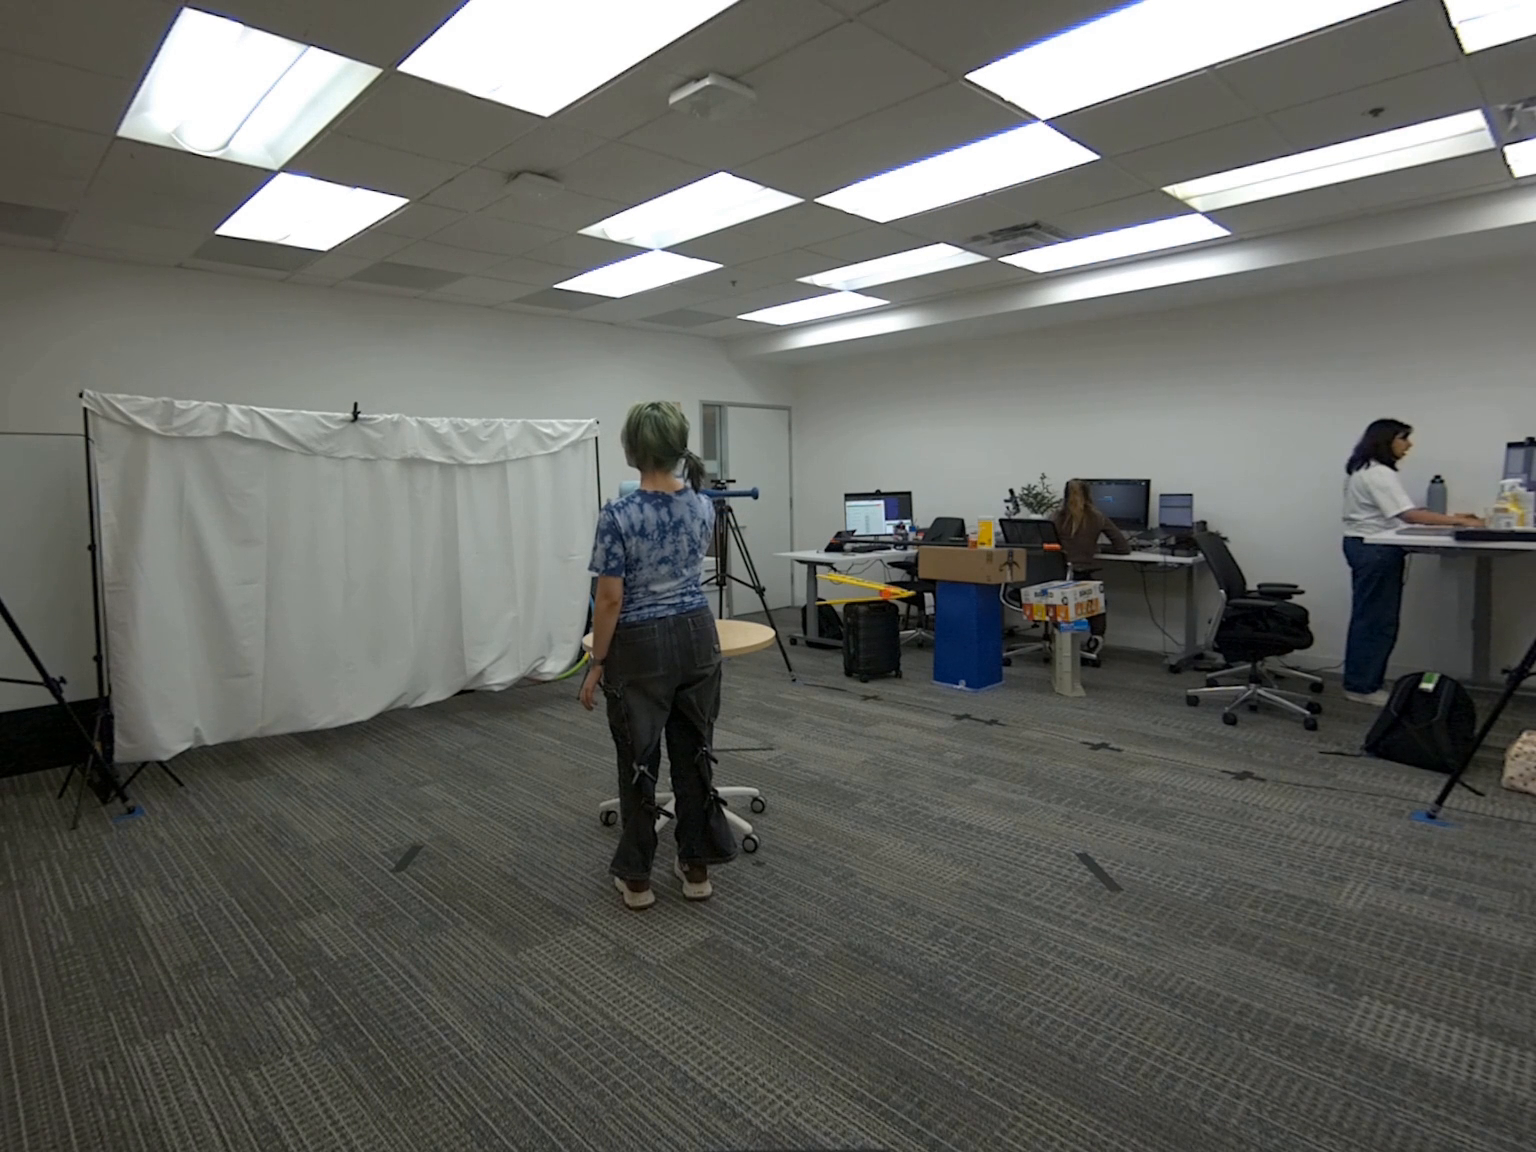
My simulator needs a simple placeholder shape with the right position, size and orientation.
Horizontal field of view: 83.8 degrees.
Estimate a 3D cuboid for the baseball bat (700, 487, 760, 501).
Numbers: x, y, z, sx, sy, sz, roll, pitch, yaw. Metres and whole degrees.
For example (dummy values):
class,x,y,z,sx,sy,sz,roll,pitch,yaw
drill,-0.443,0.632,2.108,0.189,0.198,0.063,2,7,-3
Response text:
class,x,y,z,sx,sy,sz,roll,pitch,yaw
baseball bat,-0.318,-0.323,3.341,0.540,0.089,0.090,0,5,-5
